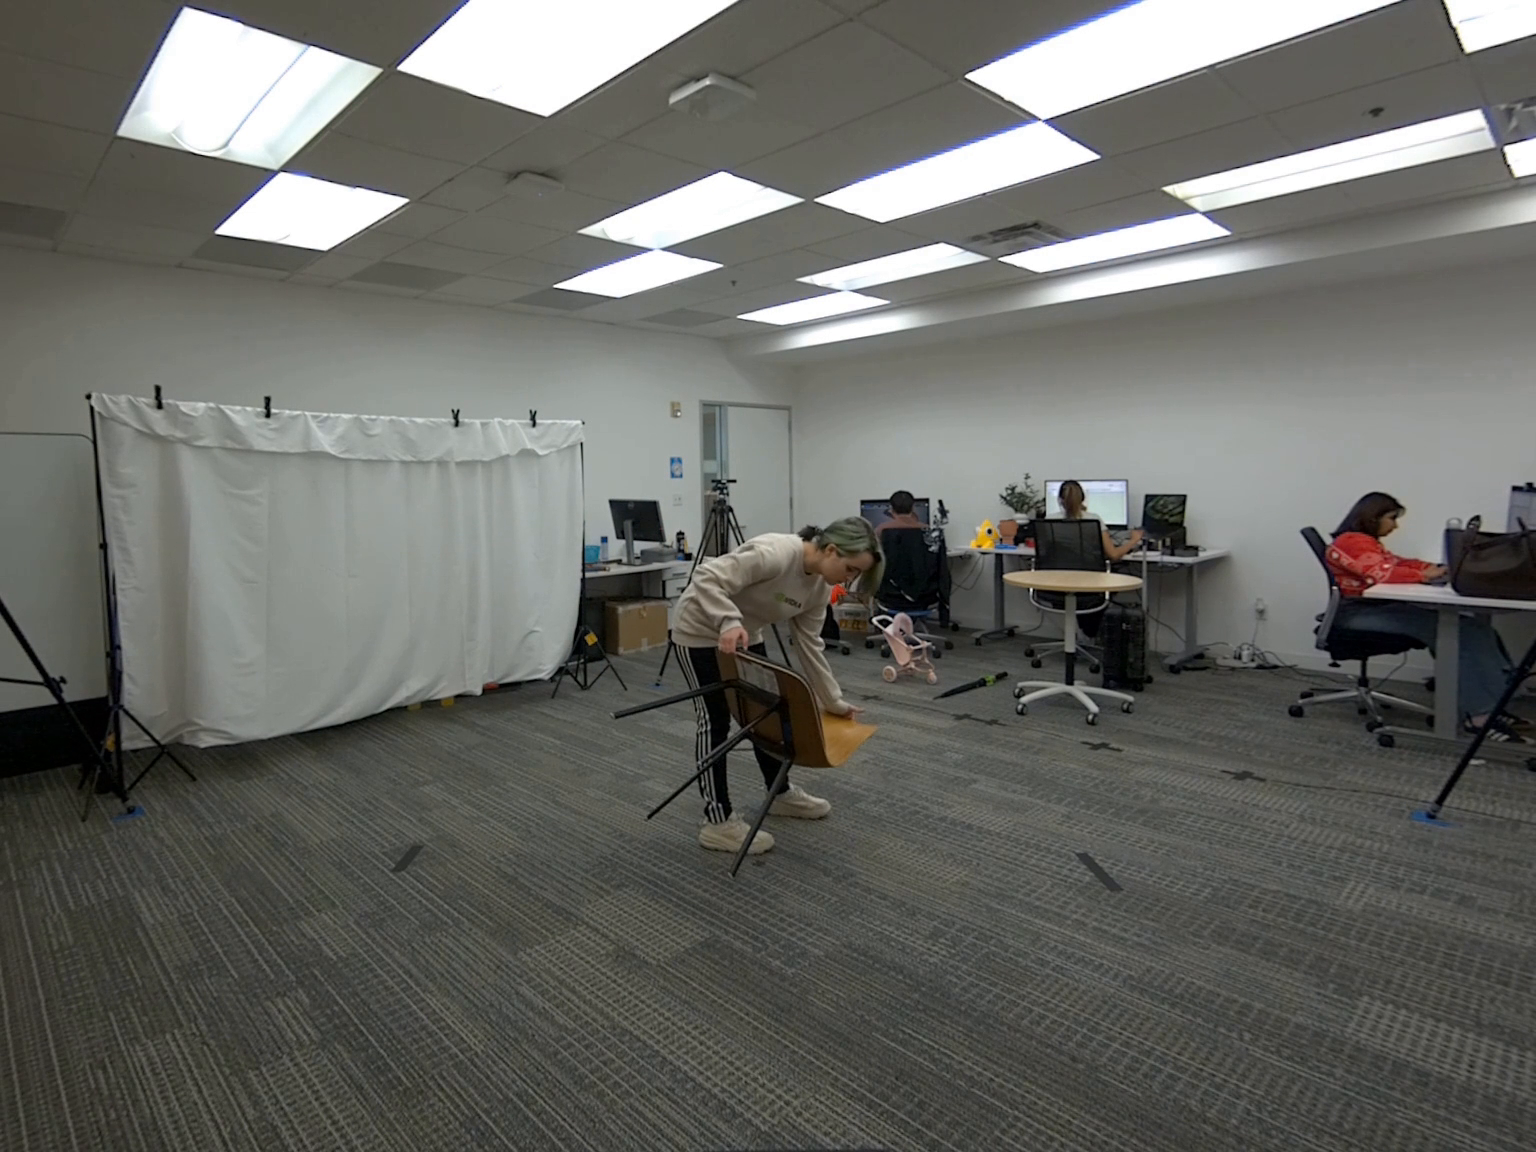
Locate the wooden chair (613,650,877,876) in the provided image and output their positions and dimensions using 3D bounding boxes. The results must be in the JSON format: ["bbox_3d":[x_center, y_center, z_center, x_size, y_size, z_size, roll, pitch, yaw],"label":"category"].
[{"bbox_3d":[-0.018,0.501,2.937,0.866,0.512,0.495,-28,28,-37],"label":"wooden chair"}]
